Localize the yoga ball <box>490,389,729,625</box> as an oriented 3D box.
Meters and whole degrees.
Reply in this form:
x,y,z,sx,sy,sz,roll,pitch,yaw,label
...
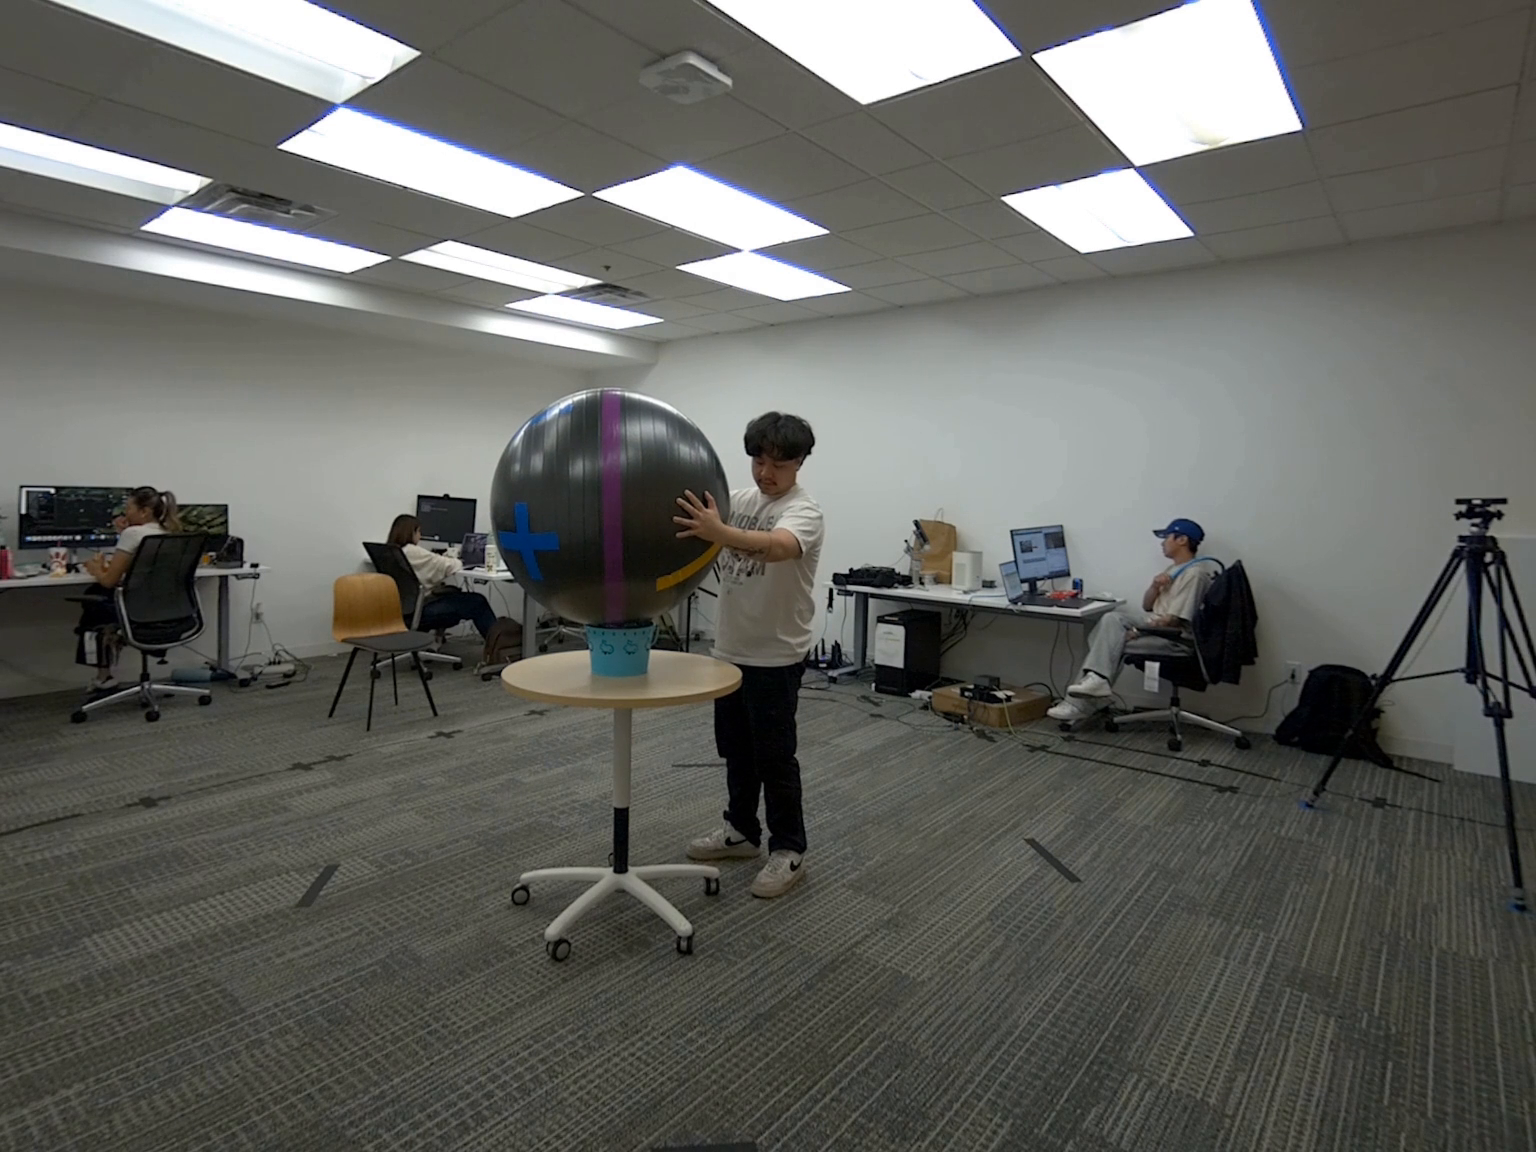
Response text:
x,y,z,sx,sy,sz,roll,pitch,yaw,label
-0.516,-0.218,2.732,0.757,0.756,0.761,1,4,-2,yoga ball
